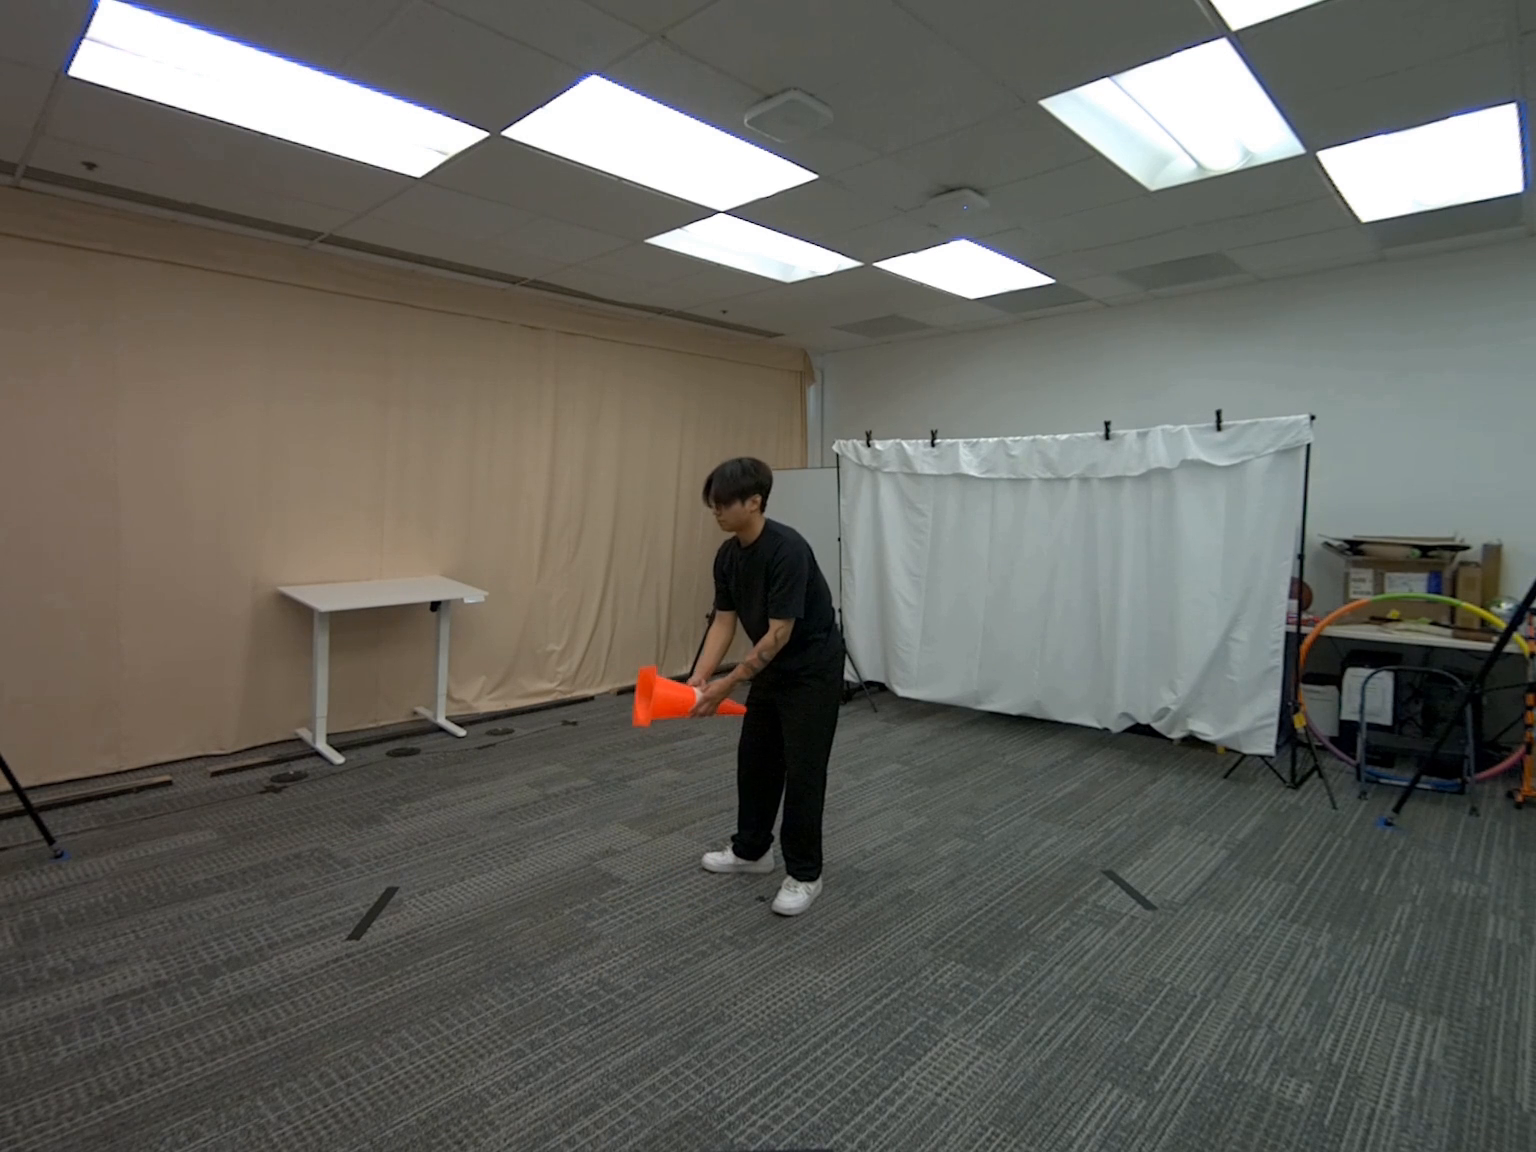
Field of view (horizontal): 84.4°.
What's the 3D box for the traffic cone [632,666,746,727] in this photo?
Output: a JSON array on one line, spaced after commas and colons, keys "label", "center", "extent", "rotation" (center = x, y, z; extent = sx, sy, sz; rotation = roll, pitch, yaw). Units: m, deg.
[{"label": "traffic cone", "center": [-0.249, 0.446, 2.913], "extent": [0.373, 0.205, 0.209], "rotation": [14, -15, -25]}]
